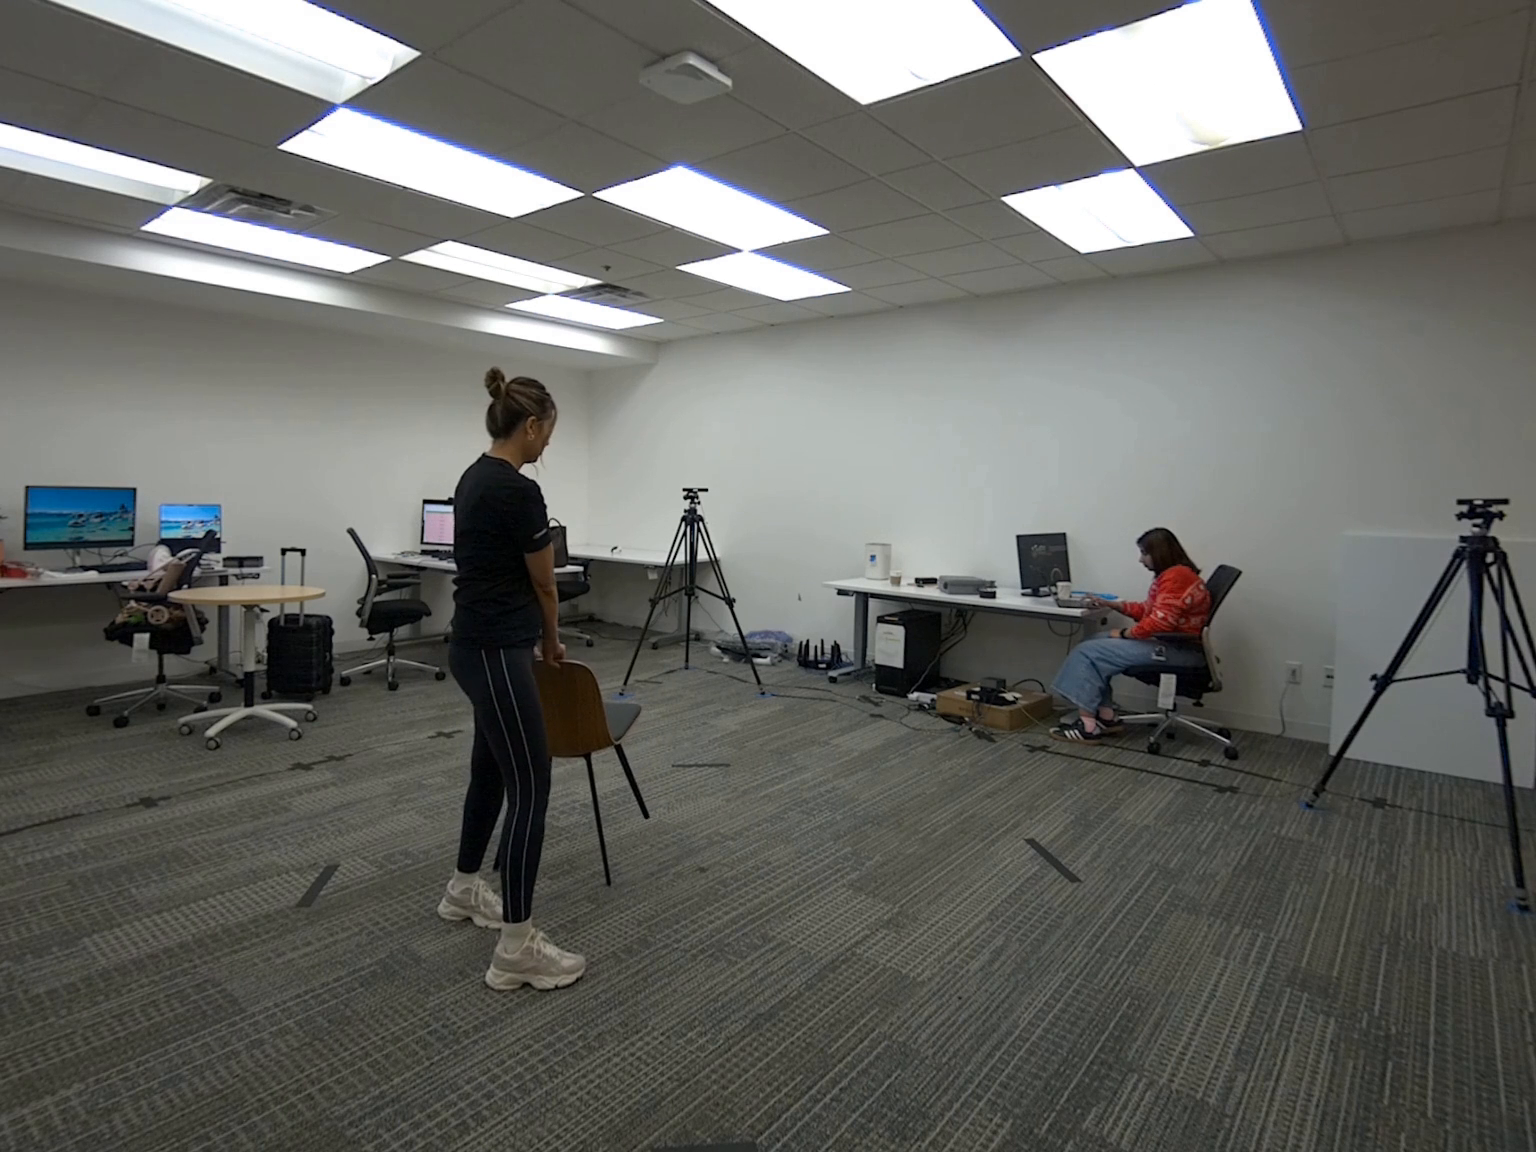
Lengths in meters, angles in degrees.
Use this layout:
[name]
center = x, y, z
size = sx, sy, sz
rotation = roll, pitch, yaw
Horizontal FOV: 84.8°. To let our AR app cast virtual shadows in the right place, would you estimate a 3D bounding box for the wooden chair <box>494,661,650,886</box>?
[wooden chair]
center = -0.743, 0.597, 3.138
size = 0.485, 0.863, 0.524
rotation = 2, 17, 12
